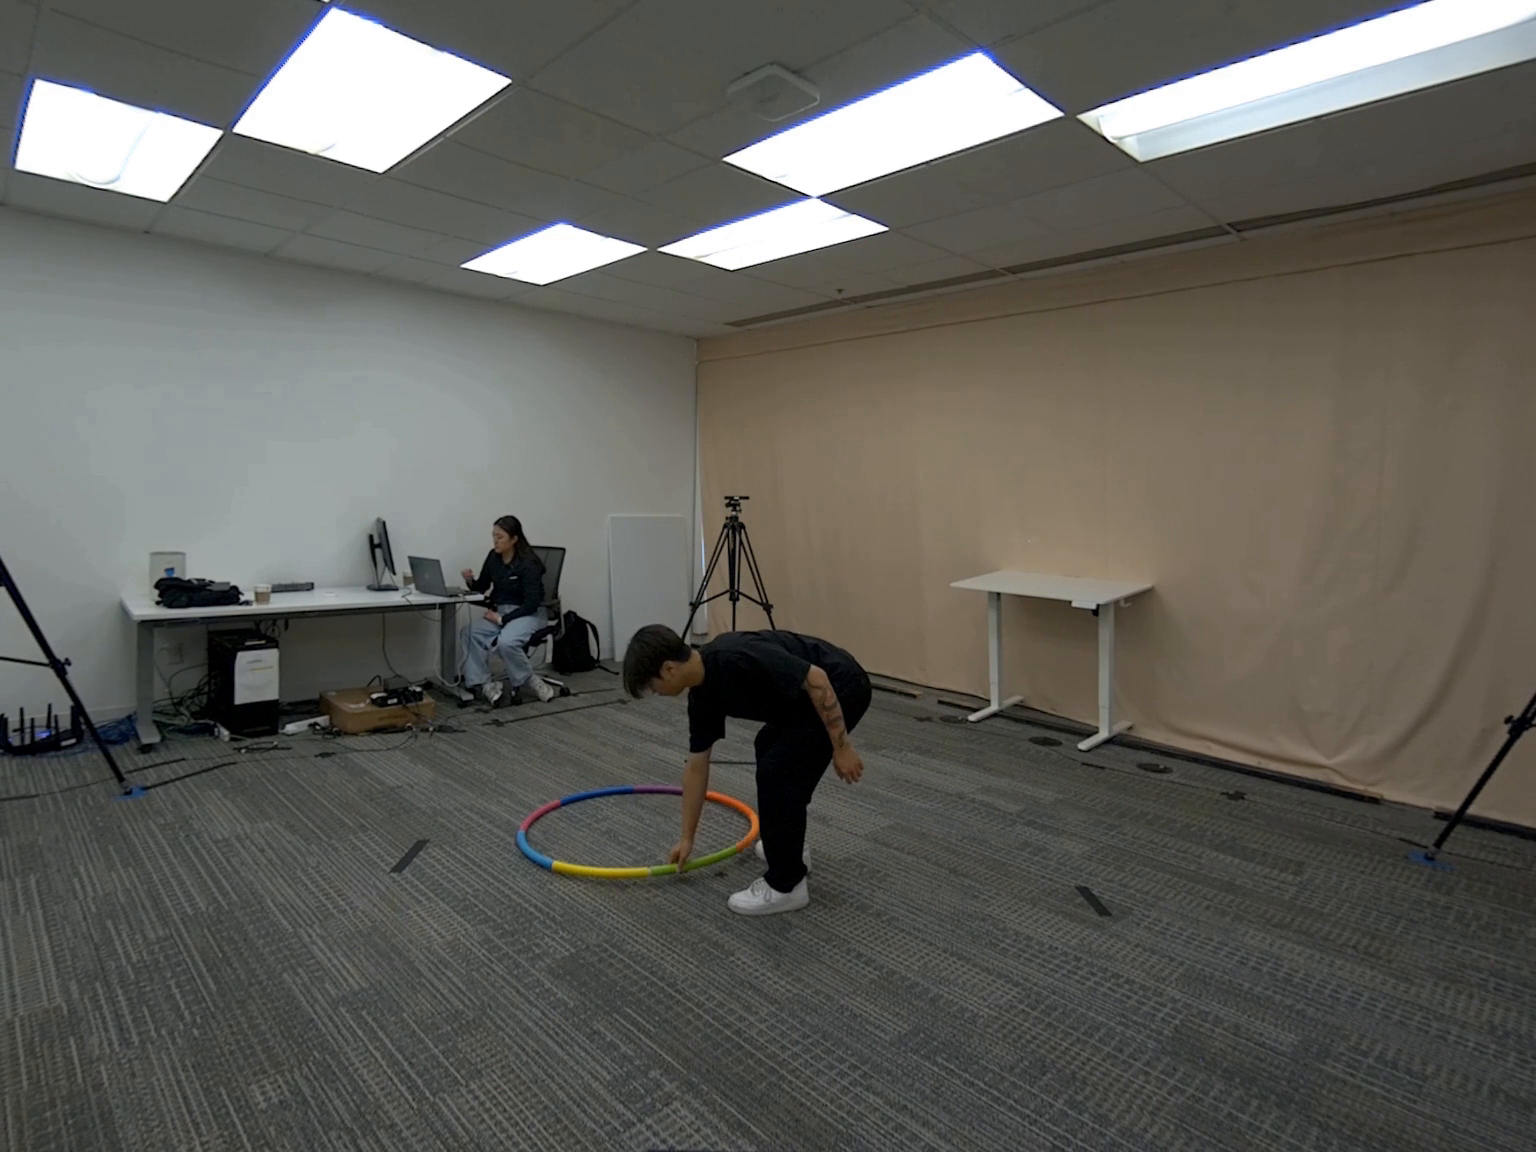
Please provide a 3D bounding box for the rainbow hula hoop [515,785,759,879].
[{"bbox_3d":[-0.534,1.020,3.480,0.978,0.035,0.981,0,4,-1],"label":"rainbow hula hoop"}]
